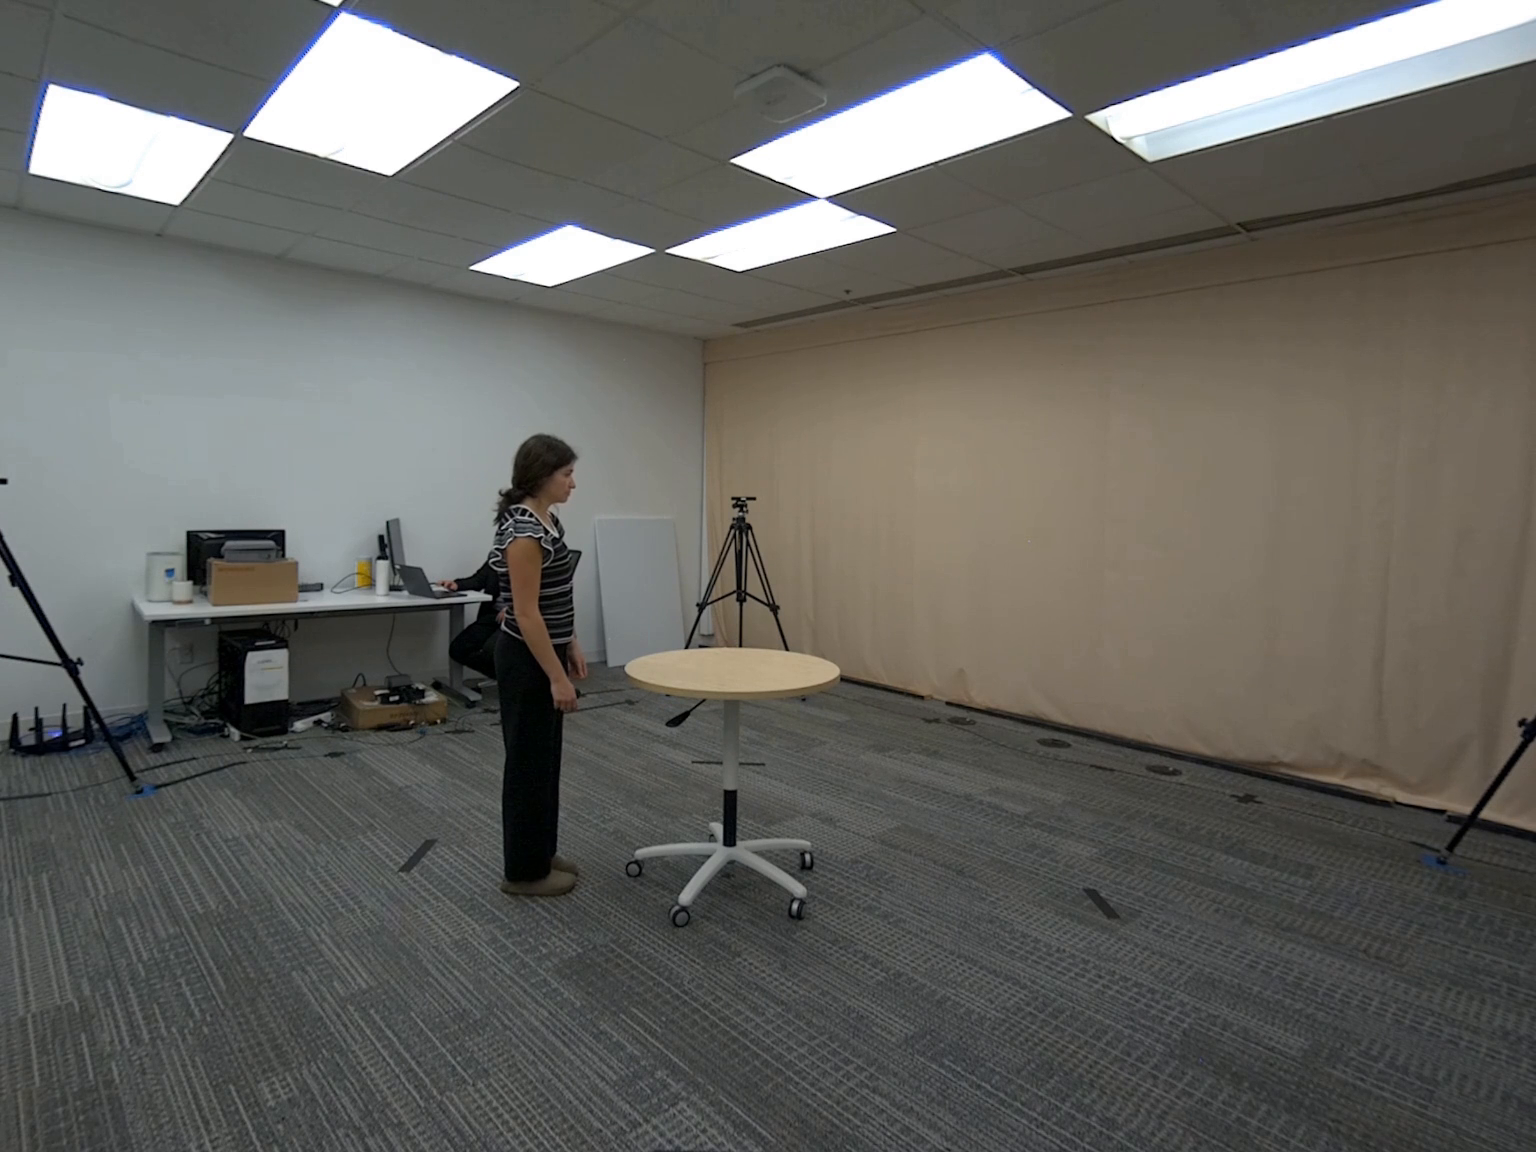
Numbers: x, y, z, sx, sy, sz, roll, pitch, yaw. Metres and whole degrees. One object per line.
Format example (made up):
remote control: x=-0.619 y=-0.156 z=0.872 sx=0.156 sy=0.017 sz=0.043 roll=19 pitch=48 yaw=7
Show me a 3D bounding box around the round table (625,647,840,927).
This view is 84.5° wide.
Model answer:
round table: x=-0.152 y=0.717 z=3.029 sx=0.784 sy=0.784 sz=0.788 roll=1 pitch=4 yaw=-1
